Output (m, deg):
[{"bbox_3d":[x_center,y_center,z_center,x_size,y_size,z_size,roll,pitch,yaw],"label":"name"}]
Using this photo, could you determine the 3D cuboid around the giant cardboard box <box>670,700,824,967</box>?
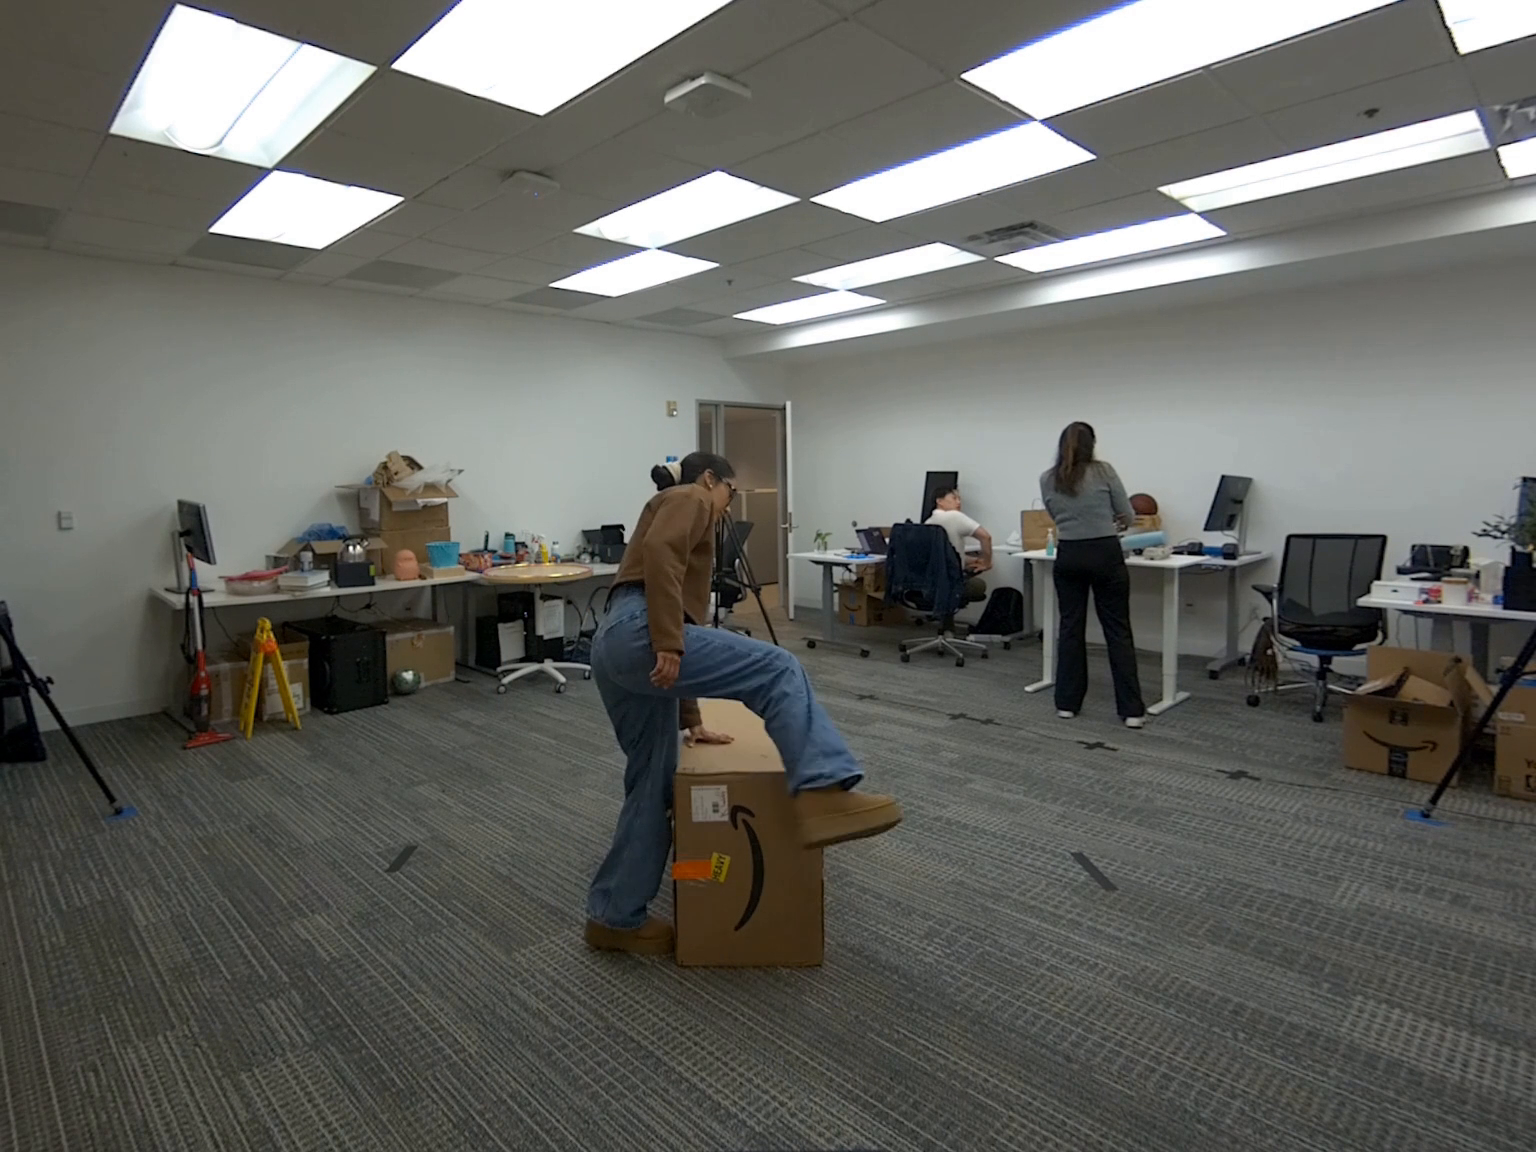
[{"bbox_3d":[-0.066,0.779,2.945,0.447,0.581,1.031,0,6,-1],"label":"giant cardboard box"}]
